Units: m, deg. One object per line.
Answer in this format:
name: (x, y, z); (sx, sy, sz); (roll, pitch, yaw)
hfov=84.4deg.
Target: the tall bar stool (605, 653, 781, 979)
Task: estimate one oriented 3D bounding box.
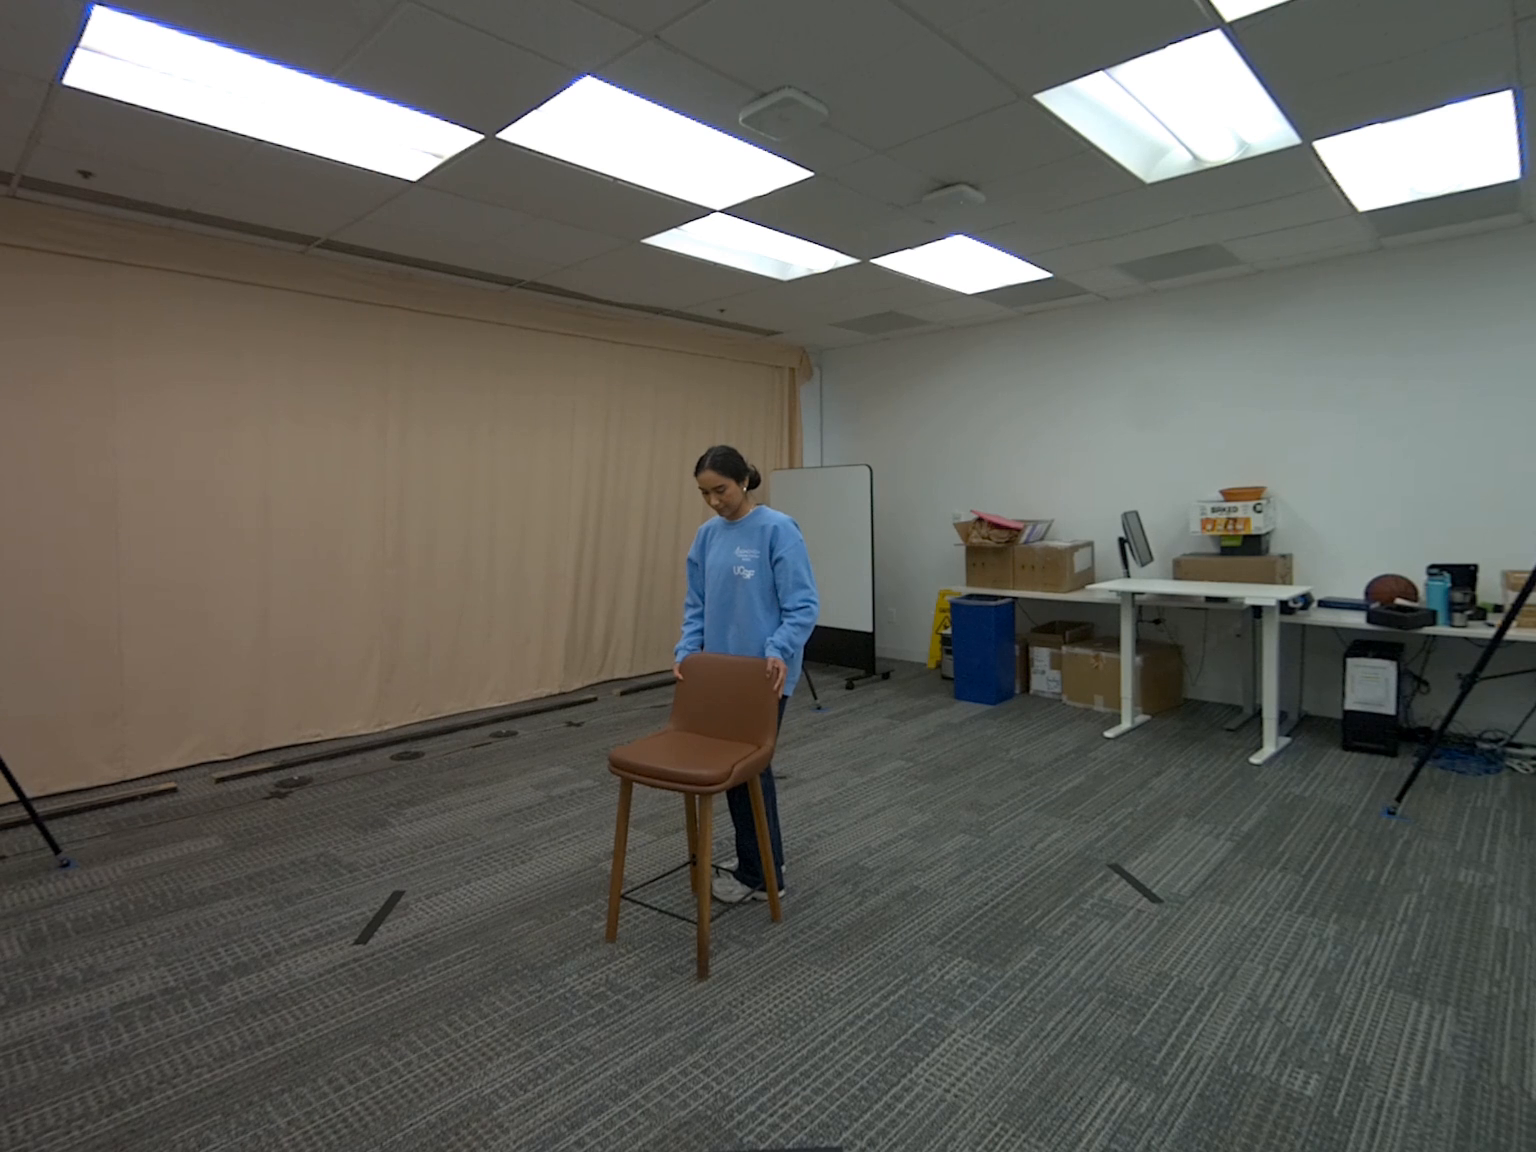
tall bar stool: (-0.232, 0.727, 2.738); (0.471, 0.889, 0.453); (2, 2, 37)
